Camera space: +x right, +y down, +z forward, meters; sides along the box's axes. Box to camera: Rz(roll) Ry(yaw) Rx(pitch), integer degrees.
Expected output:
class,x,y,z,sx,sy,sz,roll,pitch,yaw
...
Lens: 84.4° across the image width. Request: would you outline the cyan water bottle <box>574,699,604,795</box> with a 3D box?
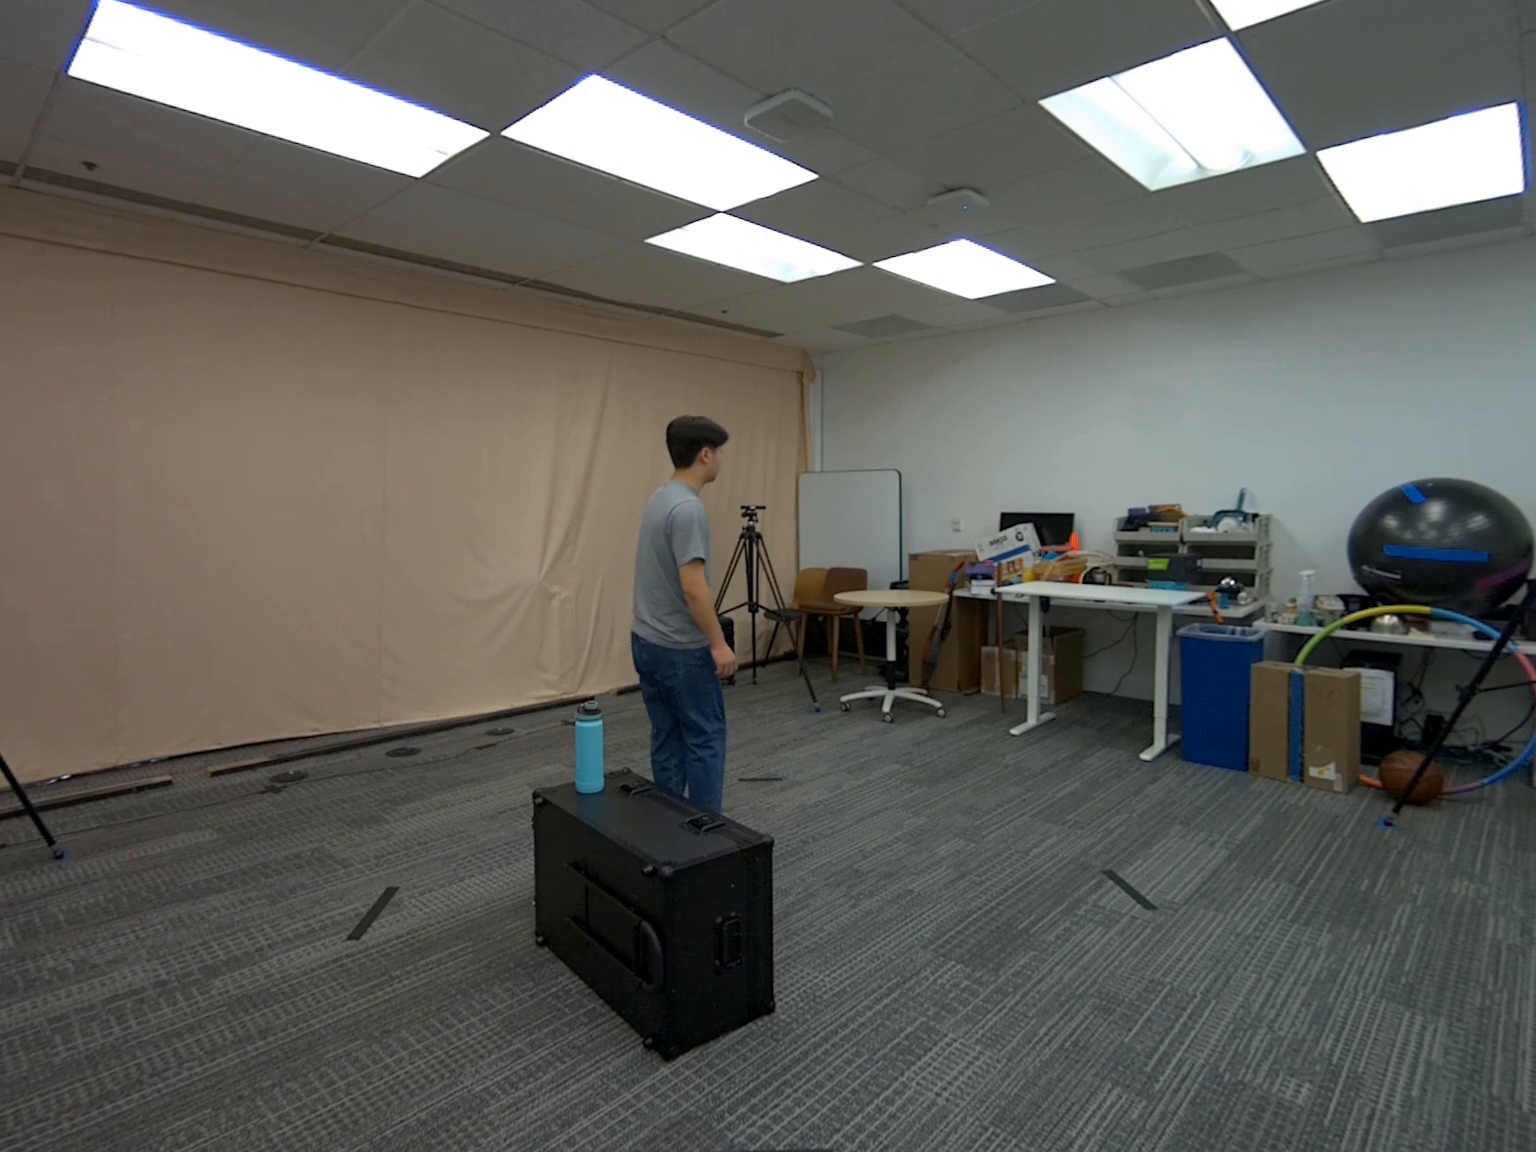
class,x,y,z,sx,sy,sz,roll,pitch,yaw
cyan water bottle,-0.574,0.551,2.728,0.092,0.283,0.092,-1,-1,-2
